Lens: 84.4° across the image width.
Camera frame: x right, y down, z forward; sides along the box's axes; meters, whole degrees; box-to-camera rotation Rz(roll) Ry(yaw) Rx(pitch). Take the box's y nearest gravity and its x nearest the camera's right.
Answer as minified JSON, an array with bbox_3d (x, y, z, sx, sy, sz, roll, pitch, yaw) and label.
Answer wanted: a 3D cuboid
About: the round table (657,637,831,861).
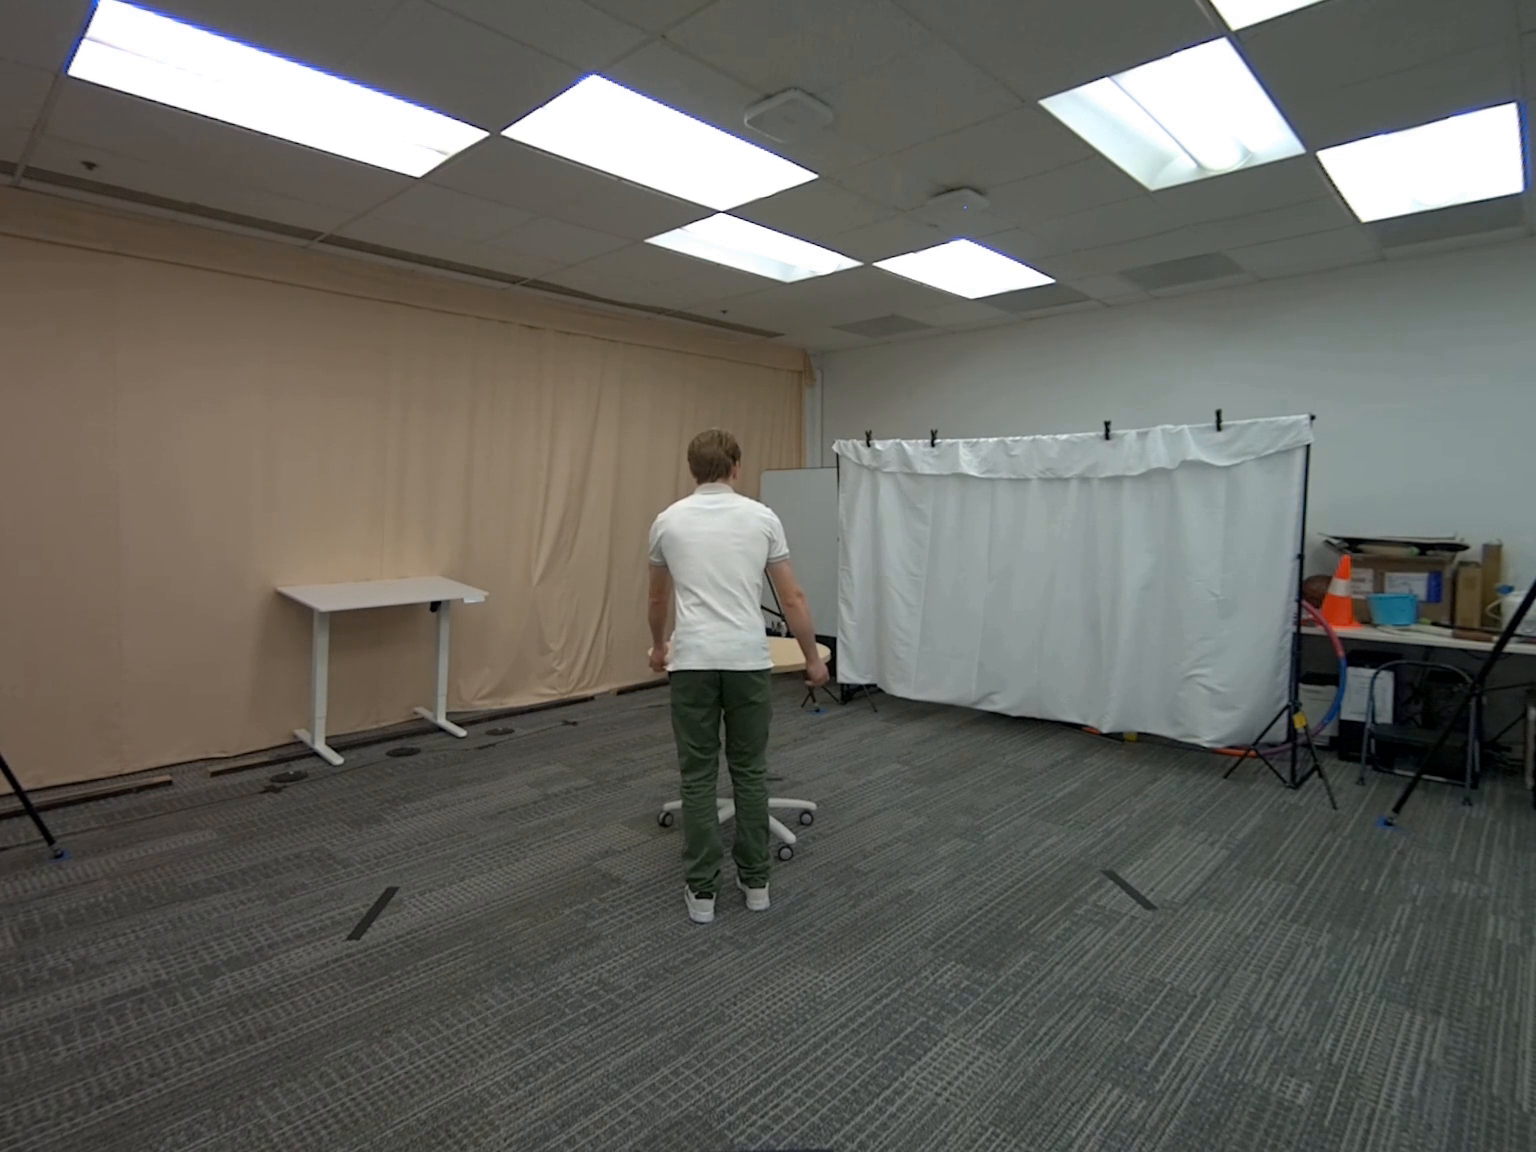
[{"bbox_3d":[-0.115,0.705,3.562,0.763,0.792,0.766,0,3,-2],"label":"round table"}]
